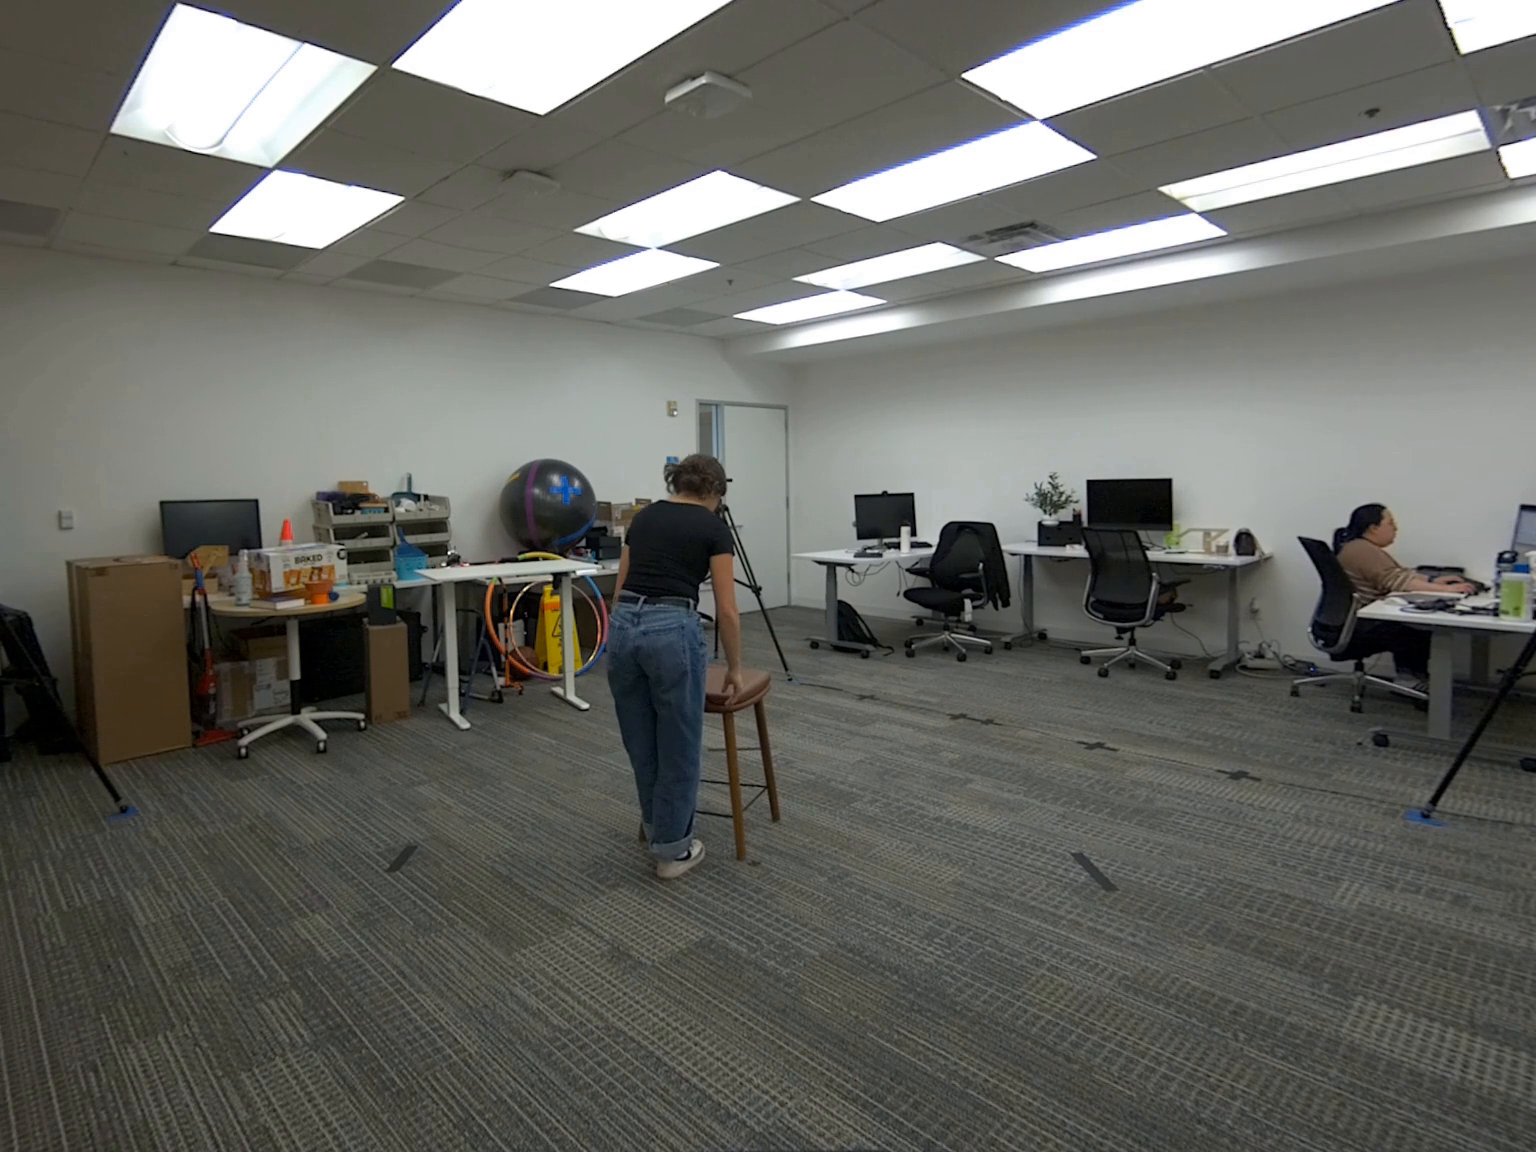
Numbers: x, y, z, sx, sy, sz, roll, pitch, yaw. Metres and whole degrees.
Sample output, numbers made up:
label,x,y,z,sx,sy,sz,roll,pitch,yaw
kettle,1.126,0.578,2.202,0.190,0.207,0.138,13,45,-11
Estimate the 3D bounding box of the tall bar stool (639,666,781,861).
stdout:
label,x,y,z,sx,sy,sz,roll,pitch,yaw
tall bar stool,-0.239,0.585,3.387,0.477,0.887,0.448,0,3,23
